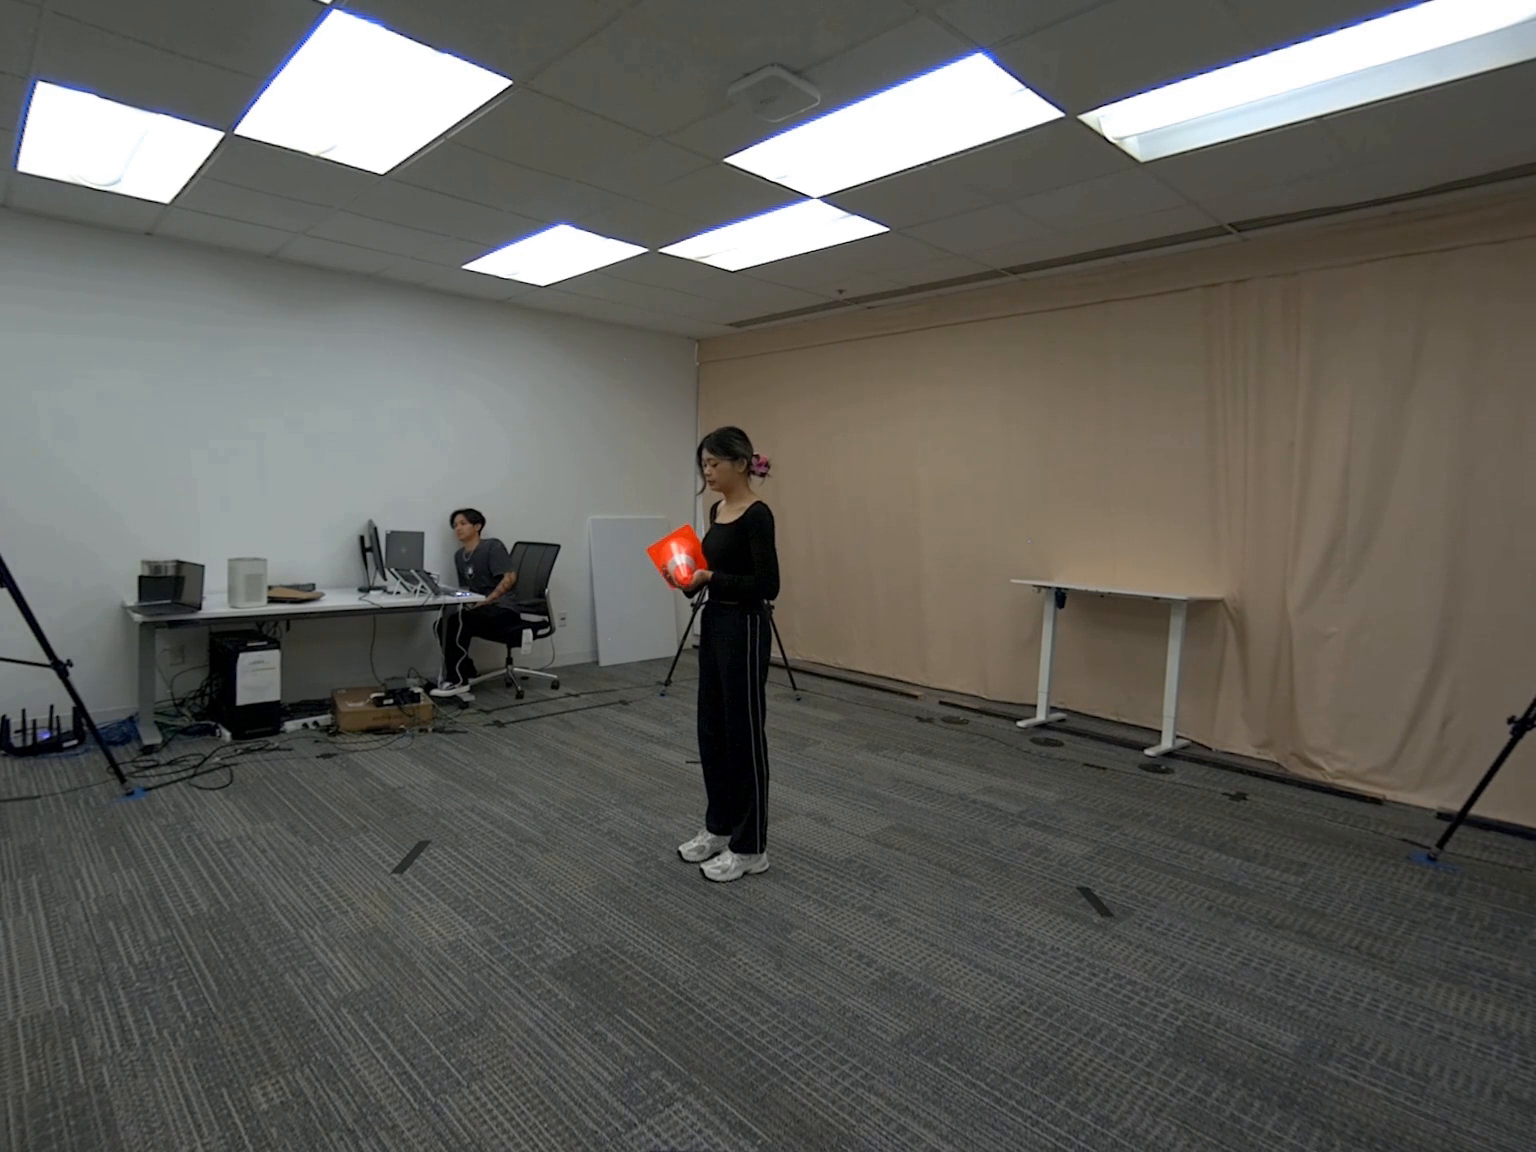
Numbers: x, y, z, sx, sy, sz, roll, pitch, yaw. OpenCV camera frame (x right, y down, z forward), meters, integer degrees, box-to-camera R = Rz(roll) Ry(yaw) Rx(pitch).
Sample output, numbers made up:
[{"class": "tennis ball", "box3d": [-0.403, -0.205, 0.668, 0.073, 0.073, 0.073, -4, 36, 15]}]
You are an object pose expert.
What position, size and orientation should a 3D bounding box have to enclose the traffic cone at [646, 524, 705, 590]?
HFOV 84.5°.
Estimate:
[{"class": "traffic cone", "box3d": [-0.328, -0.035, 3.090, 0.205, 0.201, 0.388, -29, 12, 0]}]
